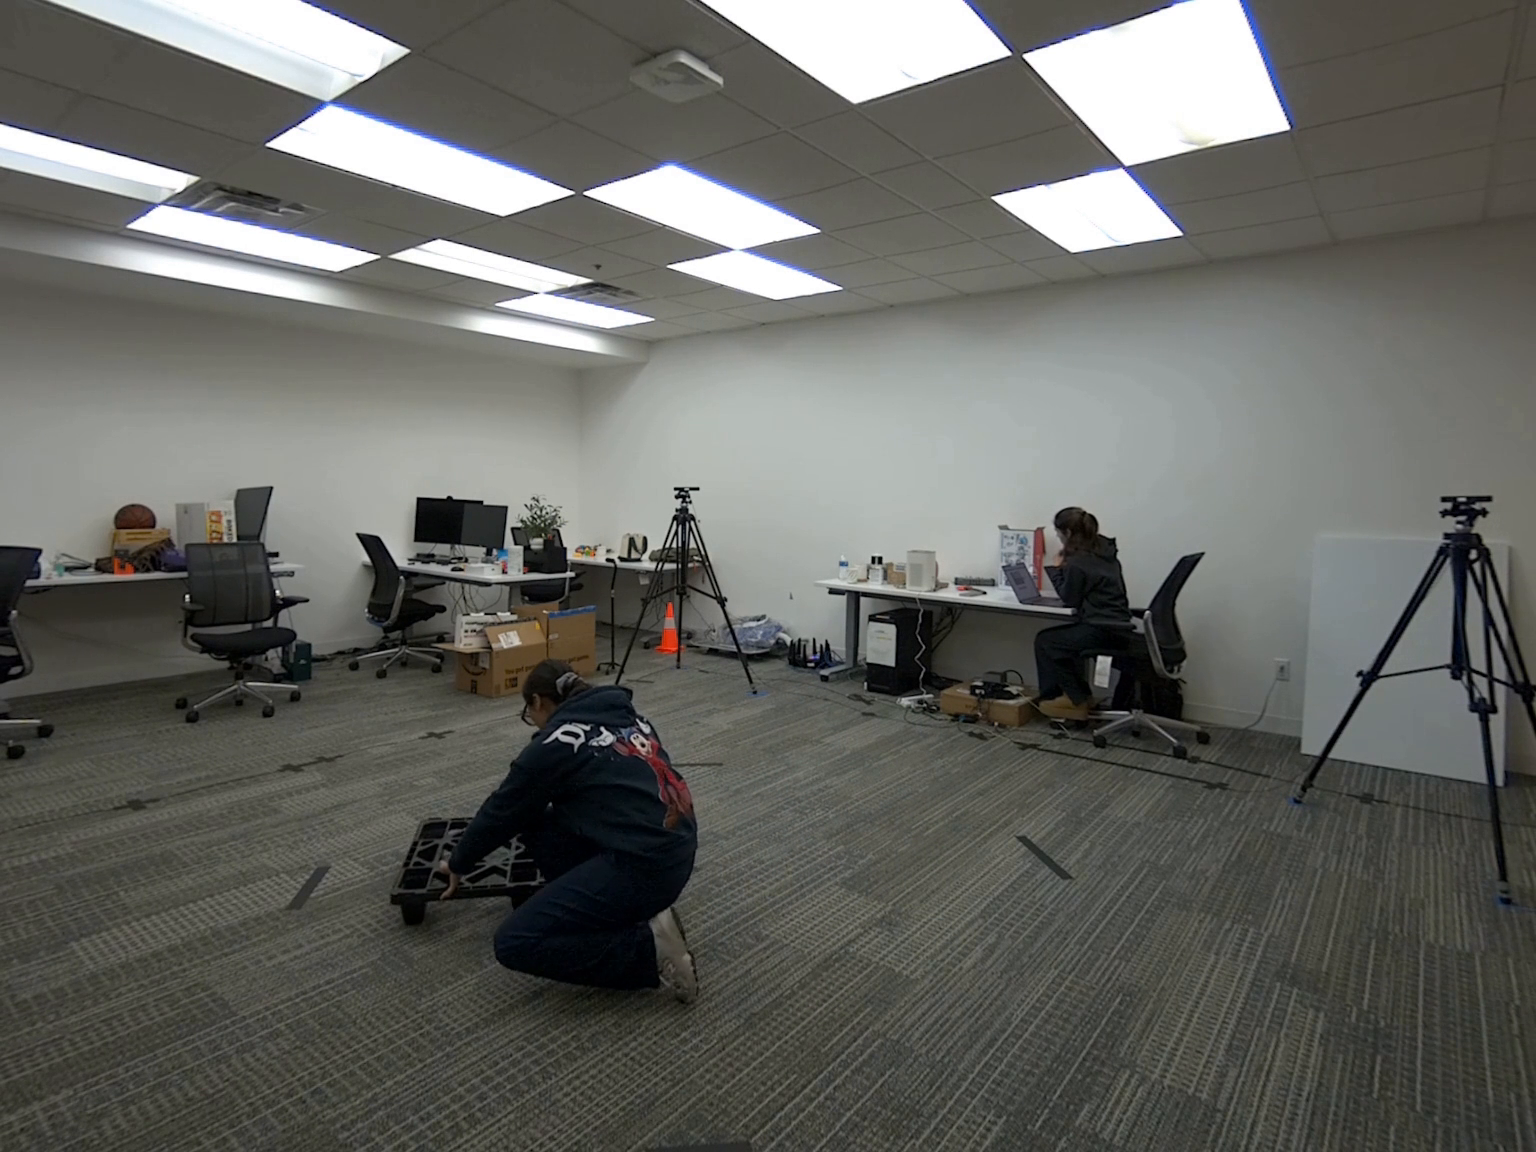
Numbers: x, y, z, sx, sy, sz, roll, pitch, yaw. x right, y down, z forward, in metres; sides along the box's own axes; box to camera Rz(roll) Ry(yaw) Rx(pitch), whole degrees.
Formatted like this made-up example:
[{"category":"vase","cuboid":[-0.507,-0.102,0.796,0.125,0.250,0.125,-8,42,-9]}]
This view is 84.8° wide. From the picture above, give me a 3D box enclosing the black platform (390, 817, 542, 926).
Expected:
[{"category":"black platform","cuboid":[-0.849,1.000,2.960,0.796,0.142,0.615,-1,7,-11]}]
